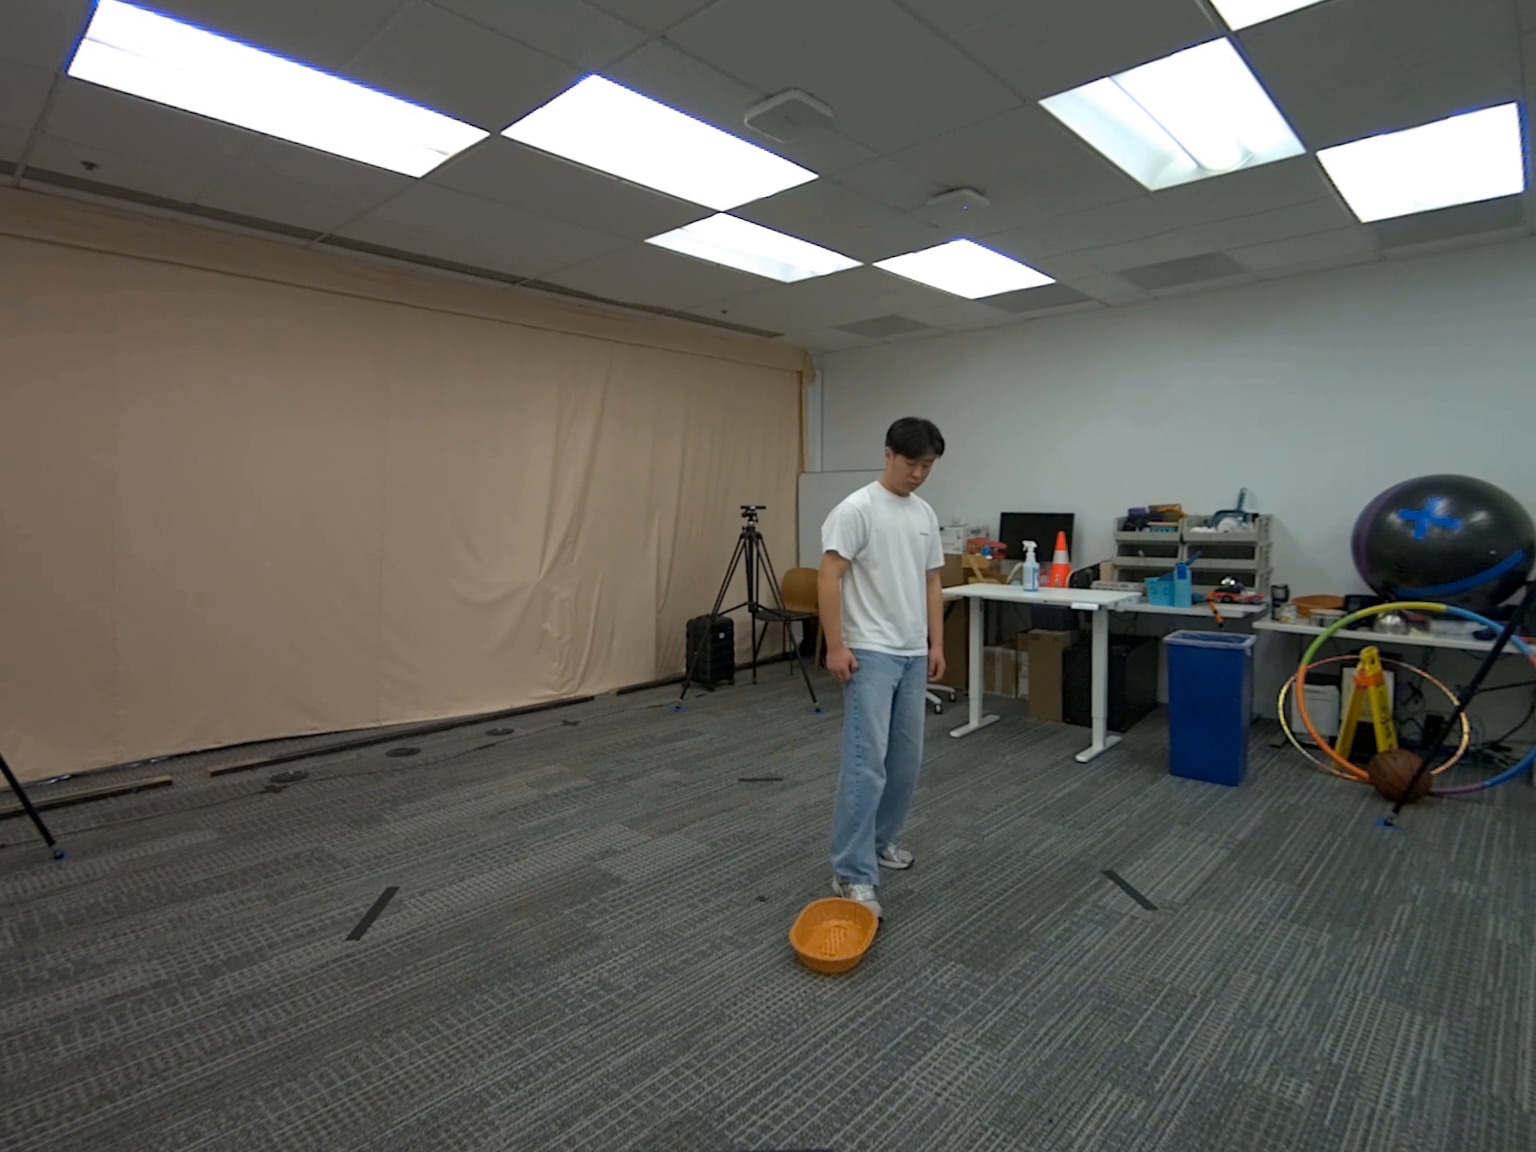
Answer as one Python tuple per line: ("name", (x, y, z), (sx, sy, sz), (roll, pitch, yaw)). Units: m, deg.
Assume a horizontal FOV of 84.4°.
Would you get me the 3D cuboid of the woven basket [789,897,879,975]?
("woven basket", (0.215, 1.127, 2.636), (0.259, 0.073, 0.343), (1, 9, 25))
